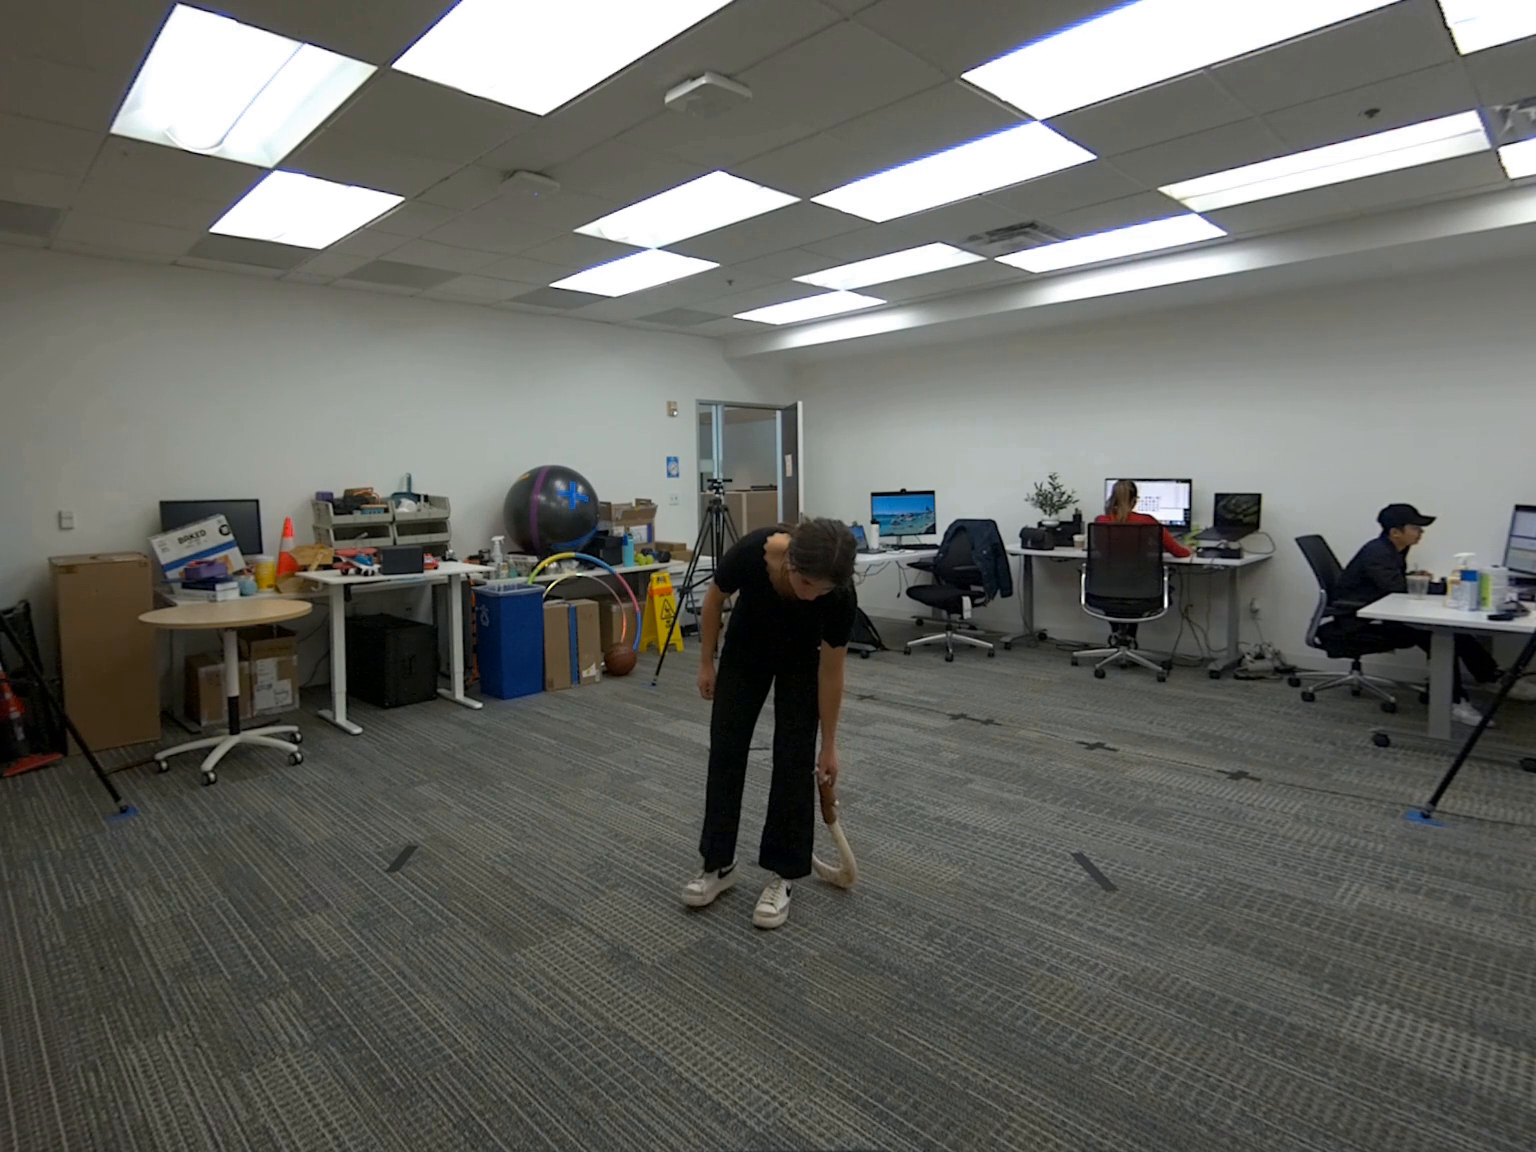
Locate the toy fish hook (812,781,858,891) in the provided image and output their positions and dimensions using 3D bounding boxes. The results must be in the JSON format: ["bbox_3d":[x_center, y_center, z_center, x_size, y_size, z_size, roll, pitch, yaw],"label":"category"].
[{"bbox_3d":[0.177,0.833,2.847,0.231,0.495,0.048,5,28,34],"label":"toy fish hook"}]
